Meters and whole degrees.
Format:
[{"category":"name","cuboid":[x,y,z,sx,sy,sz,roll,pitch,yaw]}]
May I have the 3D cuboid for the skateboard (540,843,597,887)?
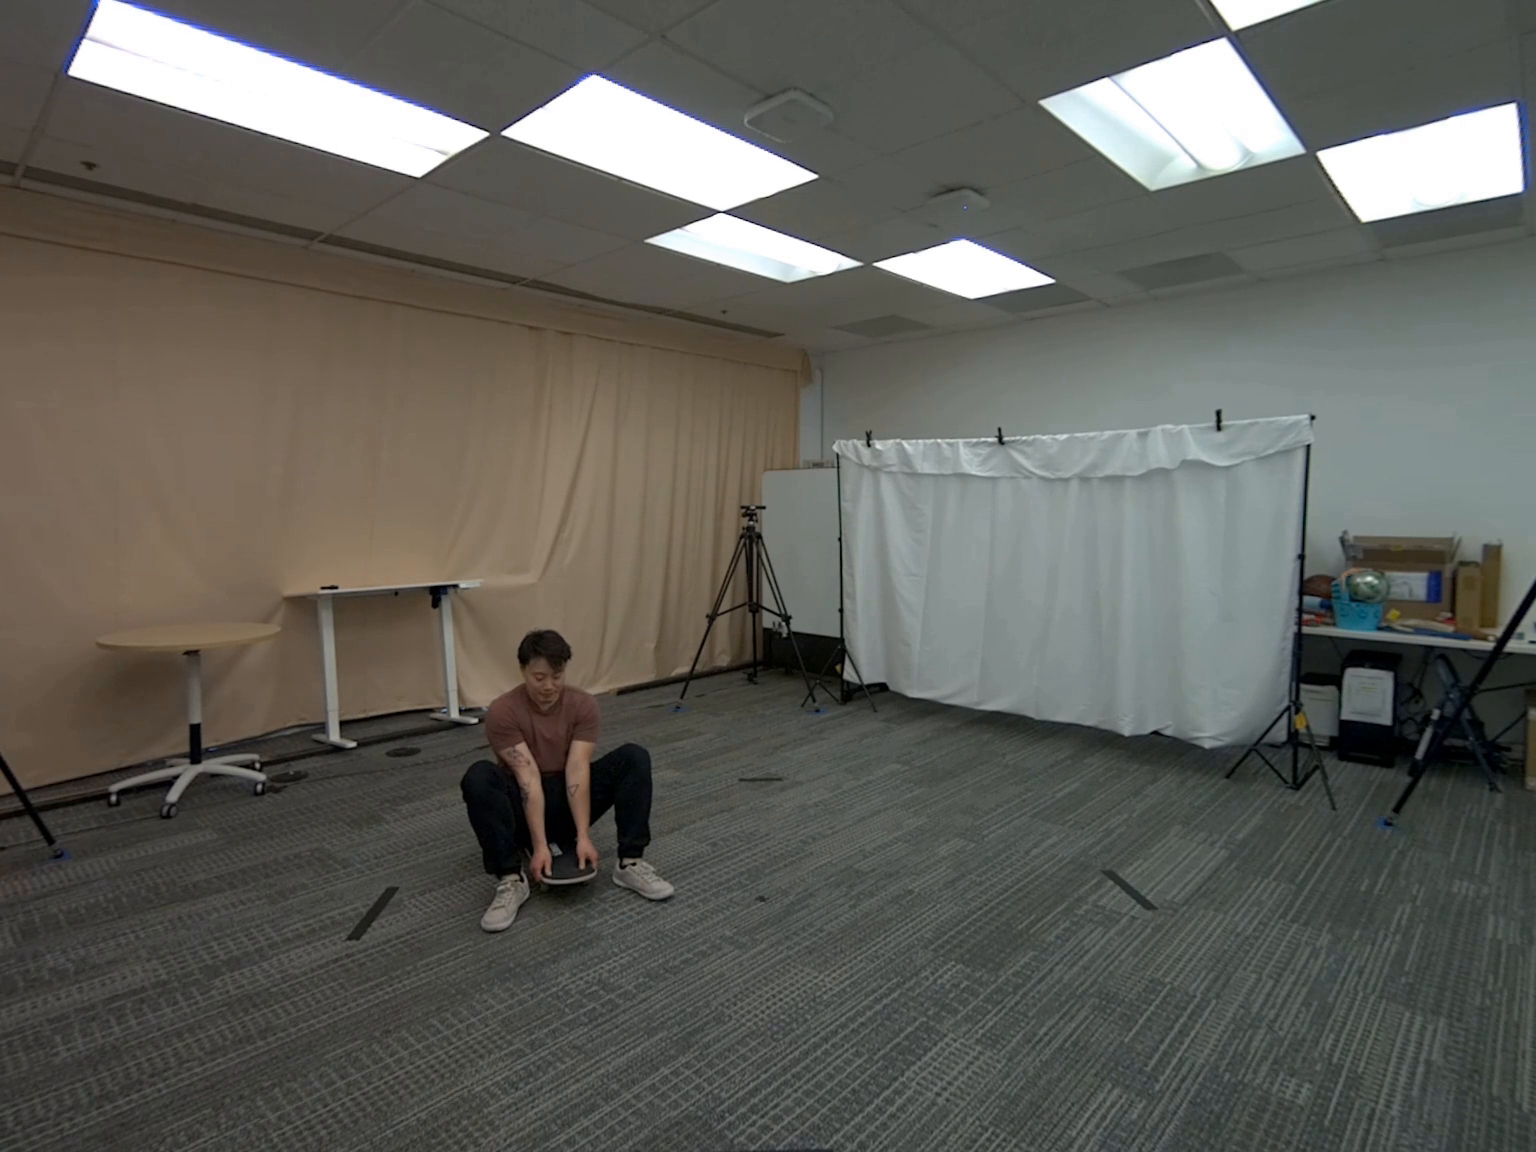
[{"category":"skateboard","cuboid":[-0.846,1.082,3.265,0.189,0.110,0.807,-4,6,-28]}]
